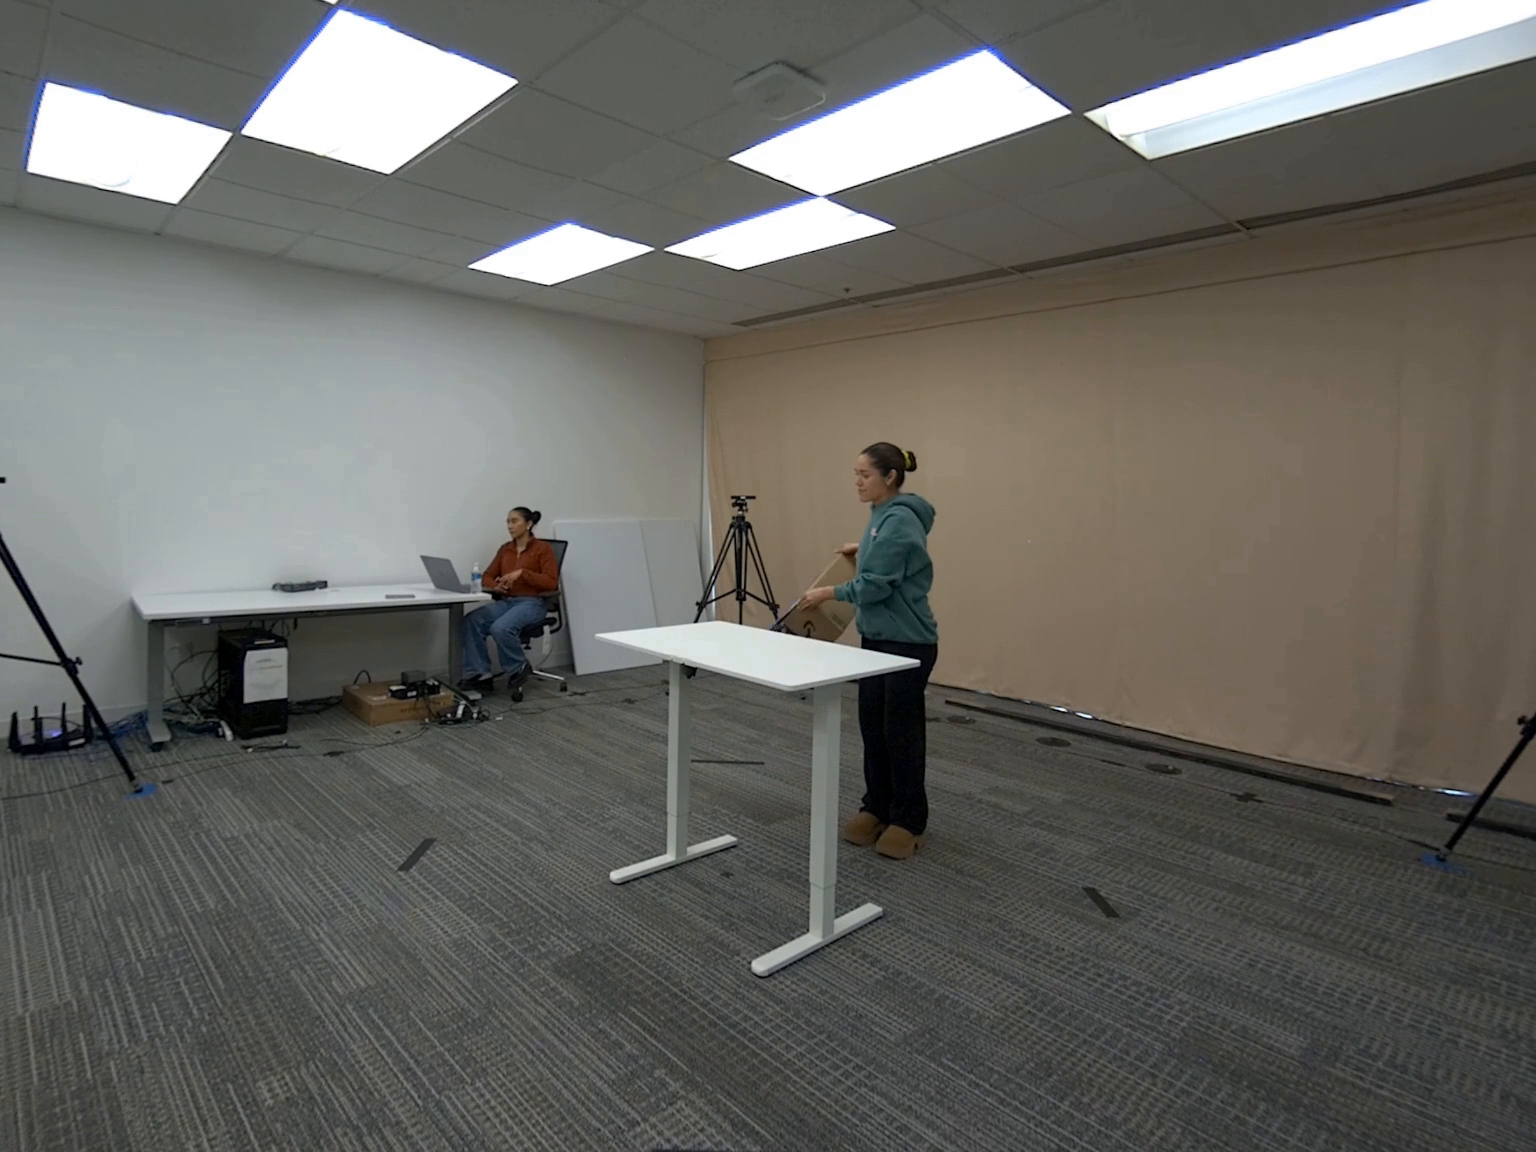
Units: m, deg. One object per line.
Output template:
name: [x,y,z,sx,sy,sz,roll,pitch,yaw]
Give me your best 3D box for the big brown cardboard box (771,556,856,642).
big brown cardboard box: [0.206,0.187,3.762,0.234,0.417,0.587,42,31,4]
